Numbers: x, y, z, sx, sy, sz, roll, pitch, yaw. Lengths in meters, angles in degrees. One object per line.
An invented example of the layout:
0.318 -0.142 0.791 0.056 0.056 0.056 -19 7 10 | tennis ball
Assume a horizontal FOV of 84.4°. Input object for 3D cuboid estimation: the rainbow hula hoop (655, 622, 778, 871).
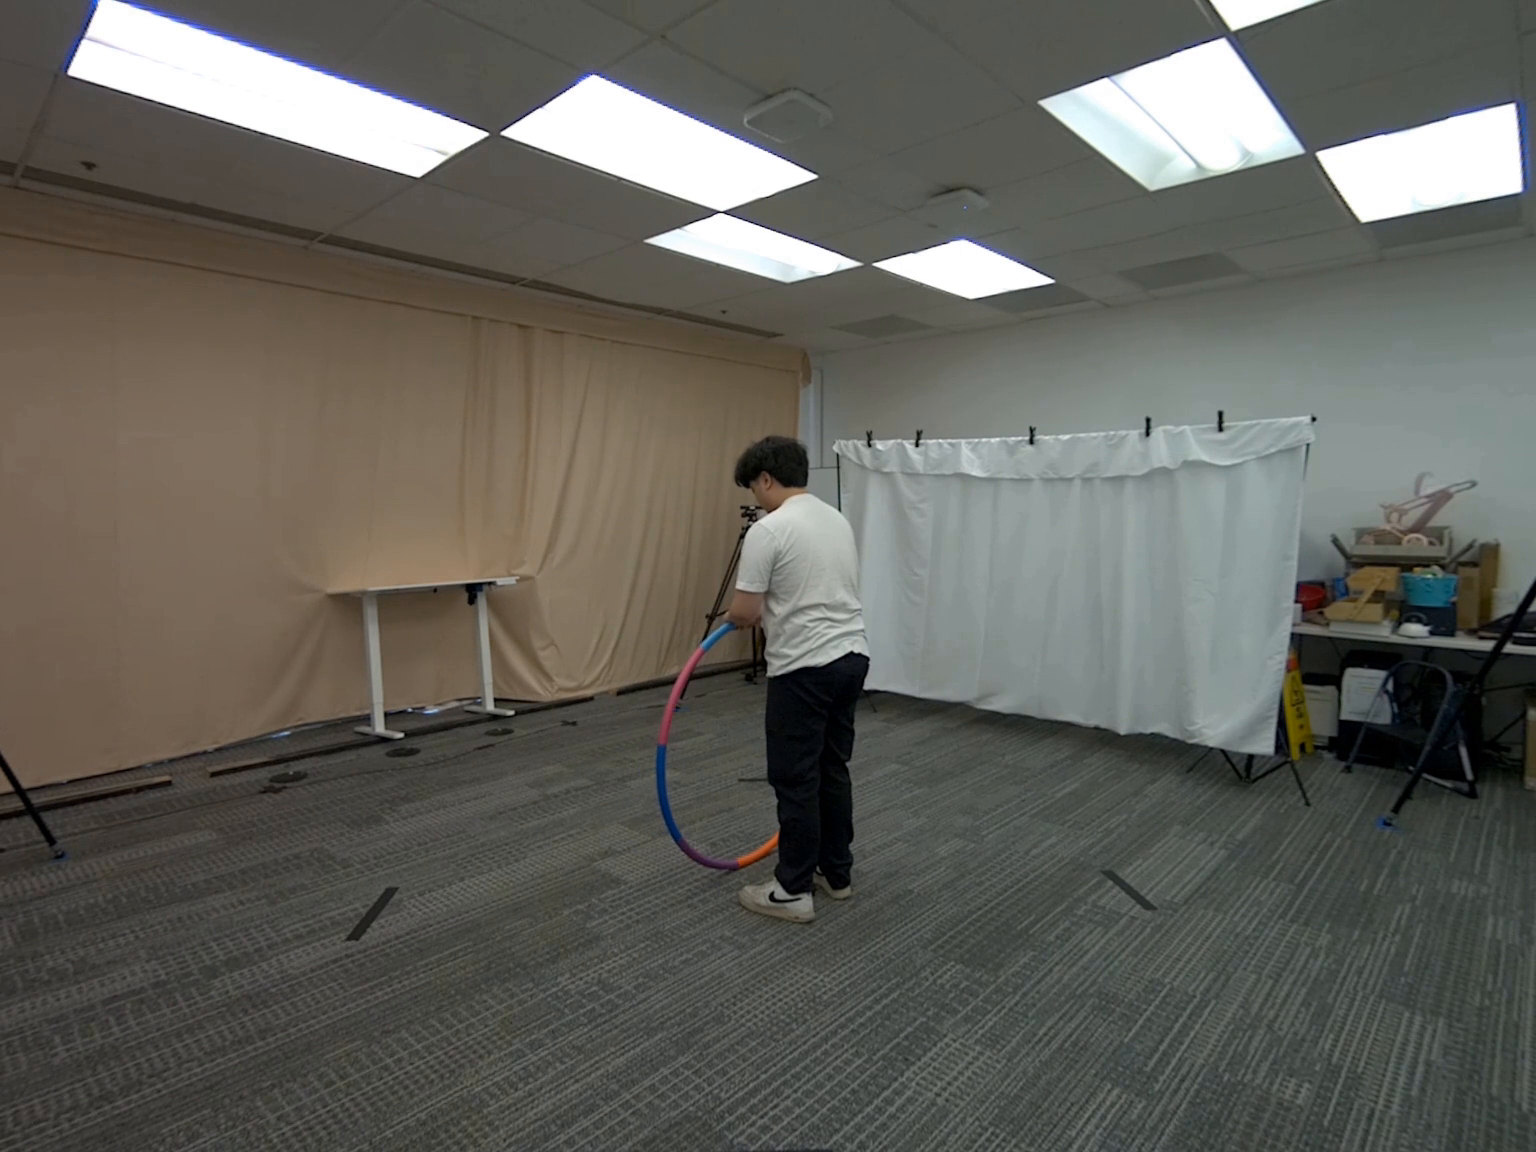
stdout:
-0.063 0.633 3.249 0.053 0.983 0.955 5 6 43 | rainbow hula hoop
